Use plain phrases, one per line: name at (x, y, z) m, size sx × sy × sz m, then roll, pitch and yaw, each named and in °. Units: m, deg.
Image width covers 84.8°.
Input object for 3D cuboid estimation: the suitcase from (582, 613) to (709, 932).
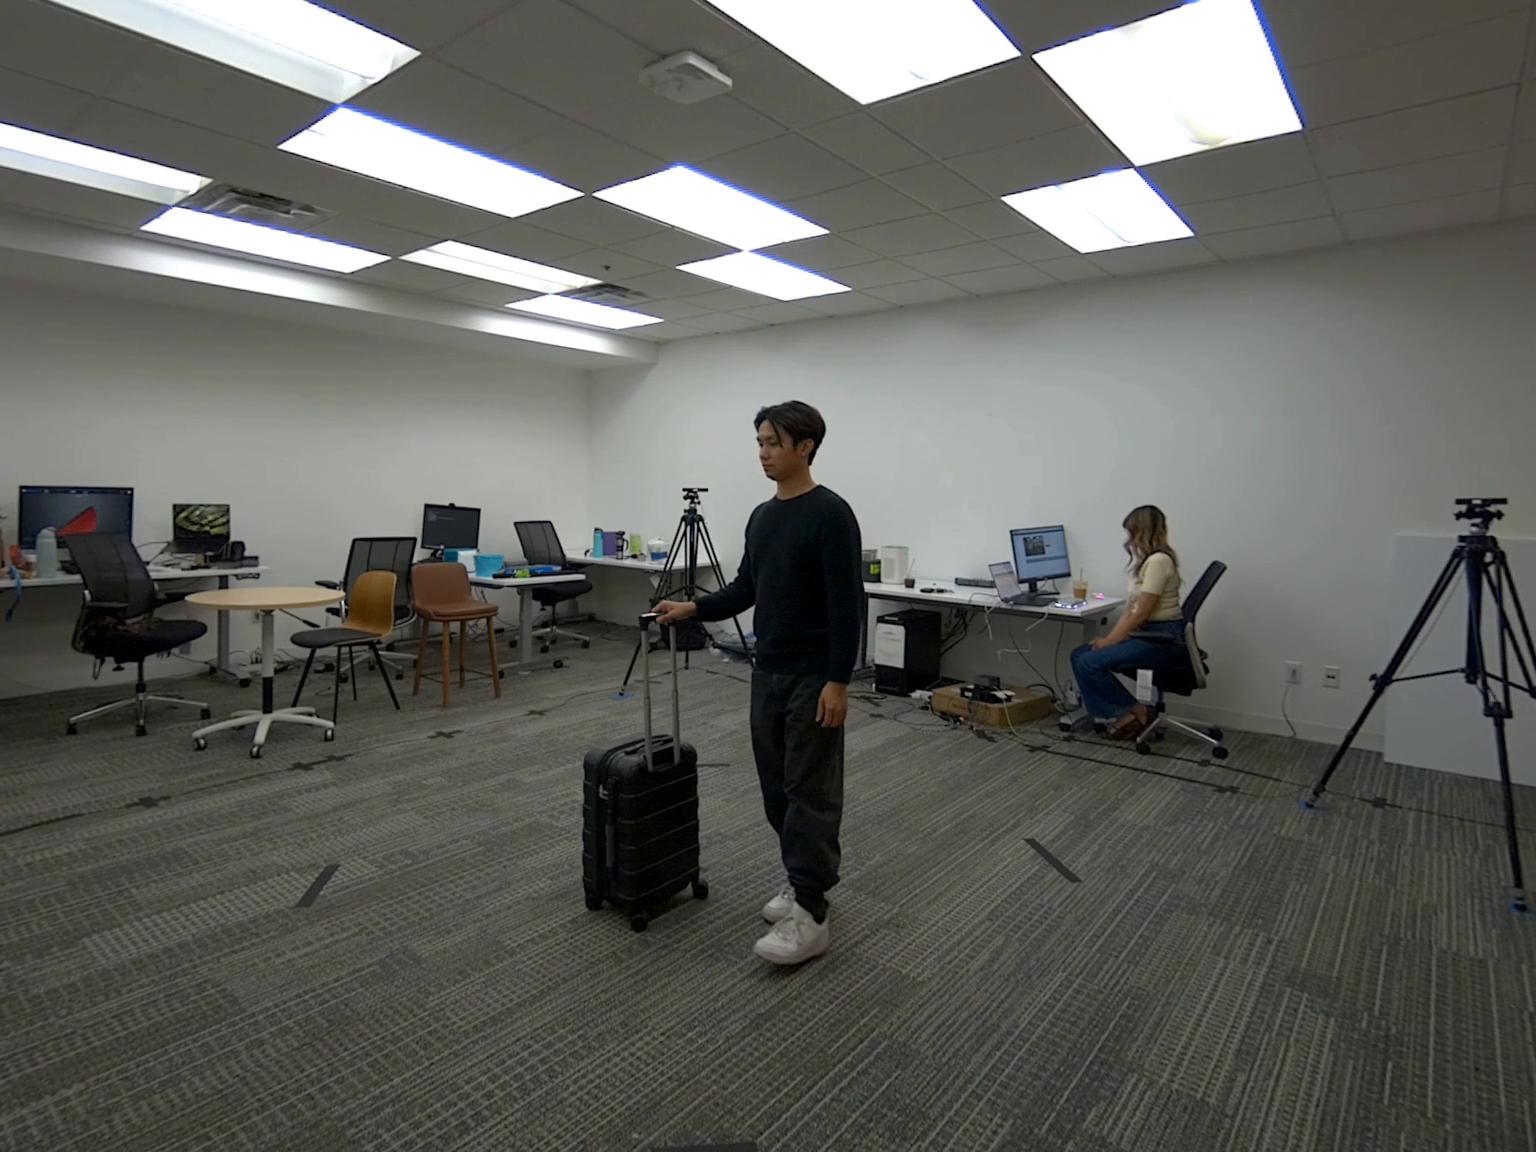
suitcase at (-0.441, 0.619, 2.841) m, size 0.265 × 0.977 × 0.373 m, roll -2°, pitch 2°, yaw 43°
